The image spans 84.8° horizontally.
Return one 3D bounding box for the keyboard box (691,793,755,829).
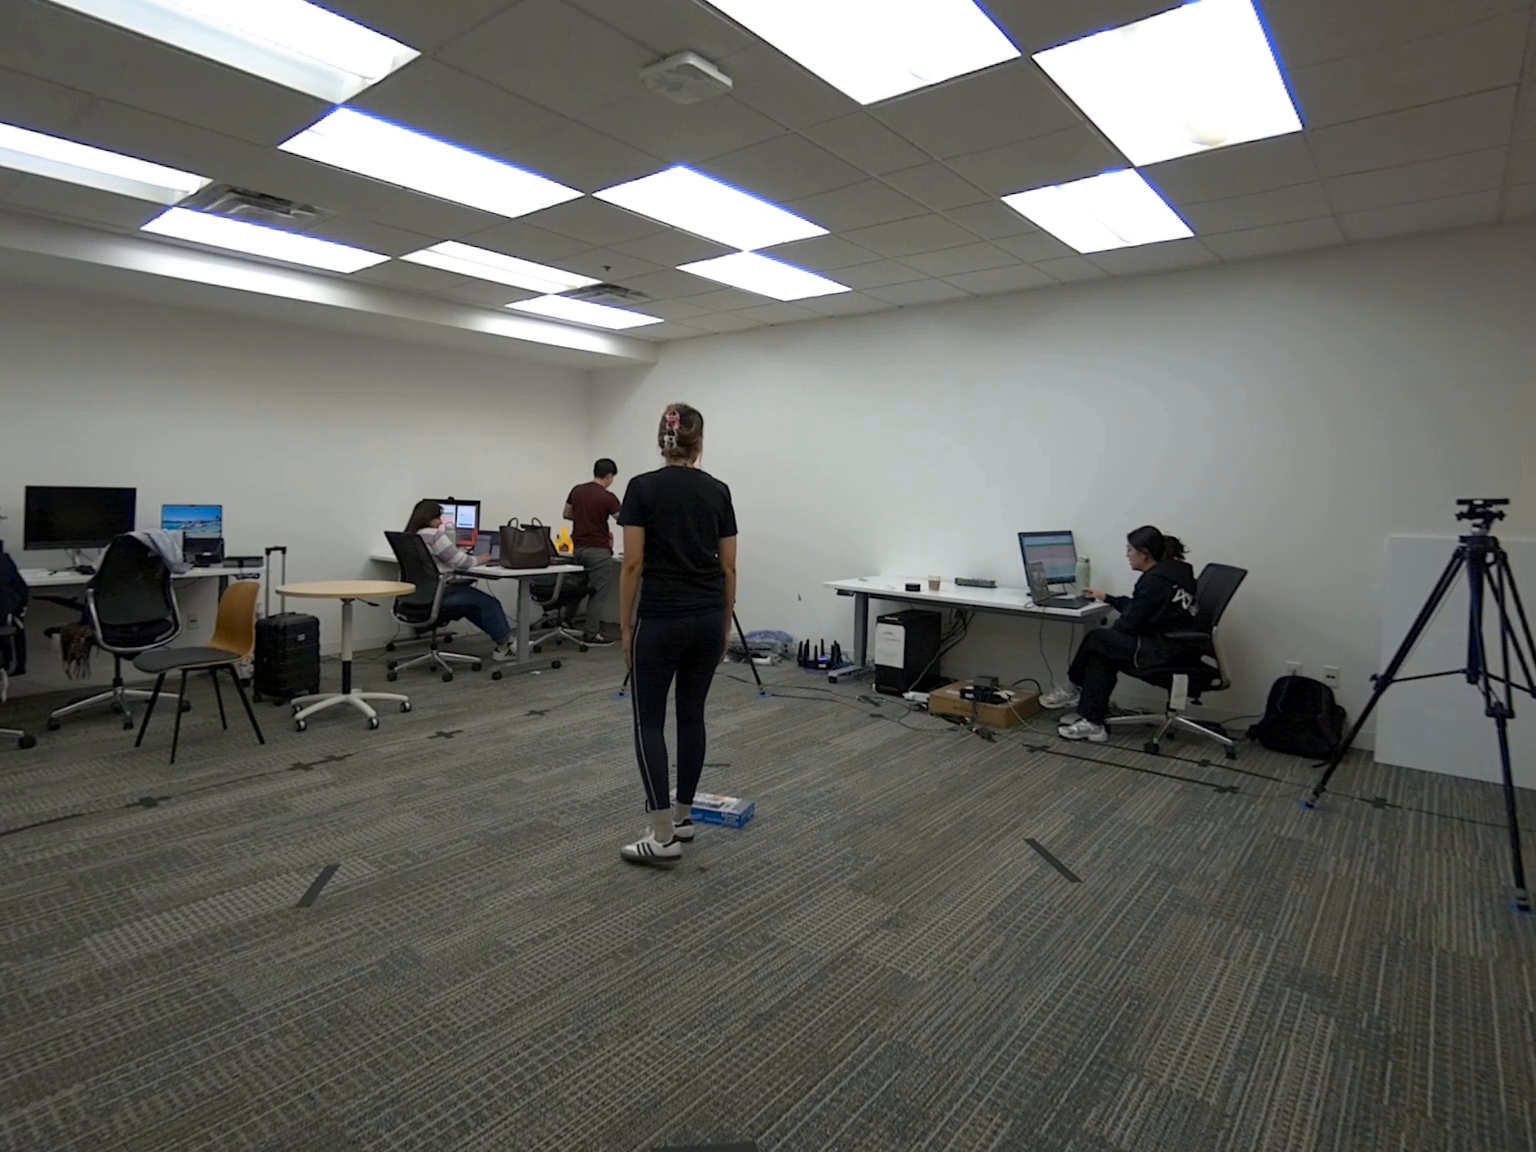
[{"bbox_3d":[-0.300,0.986,3.652,0.447,0.059,0.172,3,5,22],"label":"keyboard box"}]
